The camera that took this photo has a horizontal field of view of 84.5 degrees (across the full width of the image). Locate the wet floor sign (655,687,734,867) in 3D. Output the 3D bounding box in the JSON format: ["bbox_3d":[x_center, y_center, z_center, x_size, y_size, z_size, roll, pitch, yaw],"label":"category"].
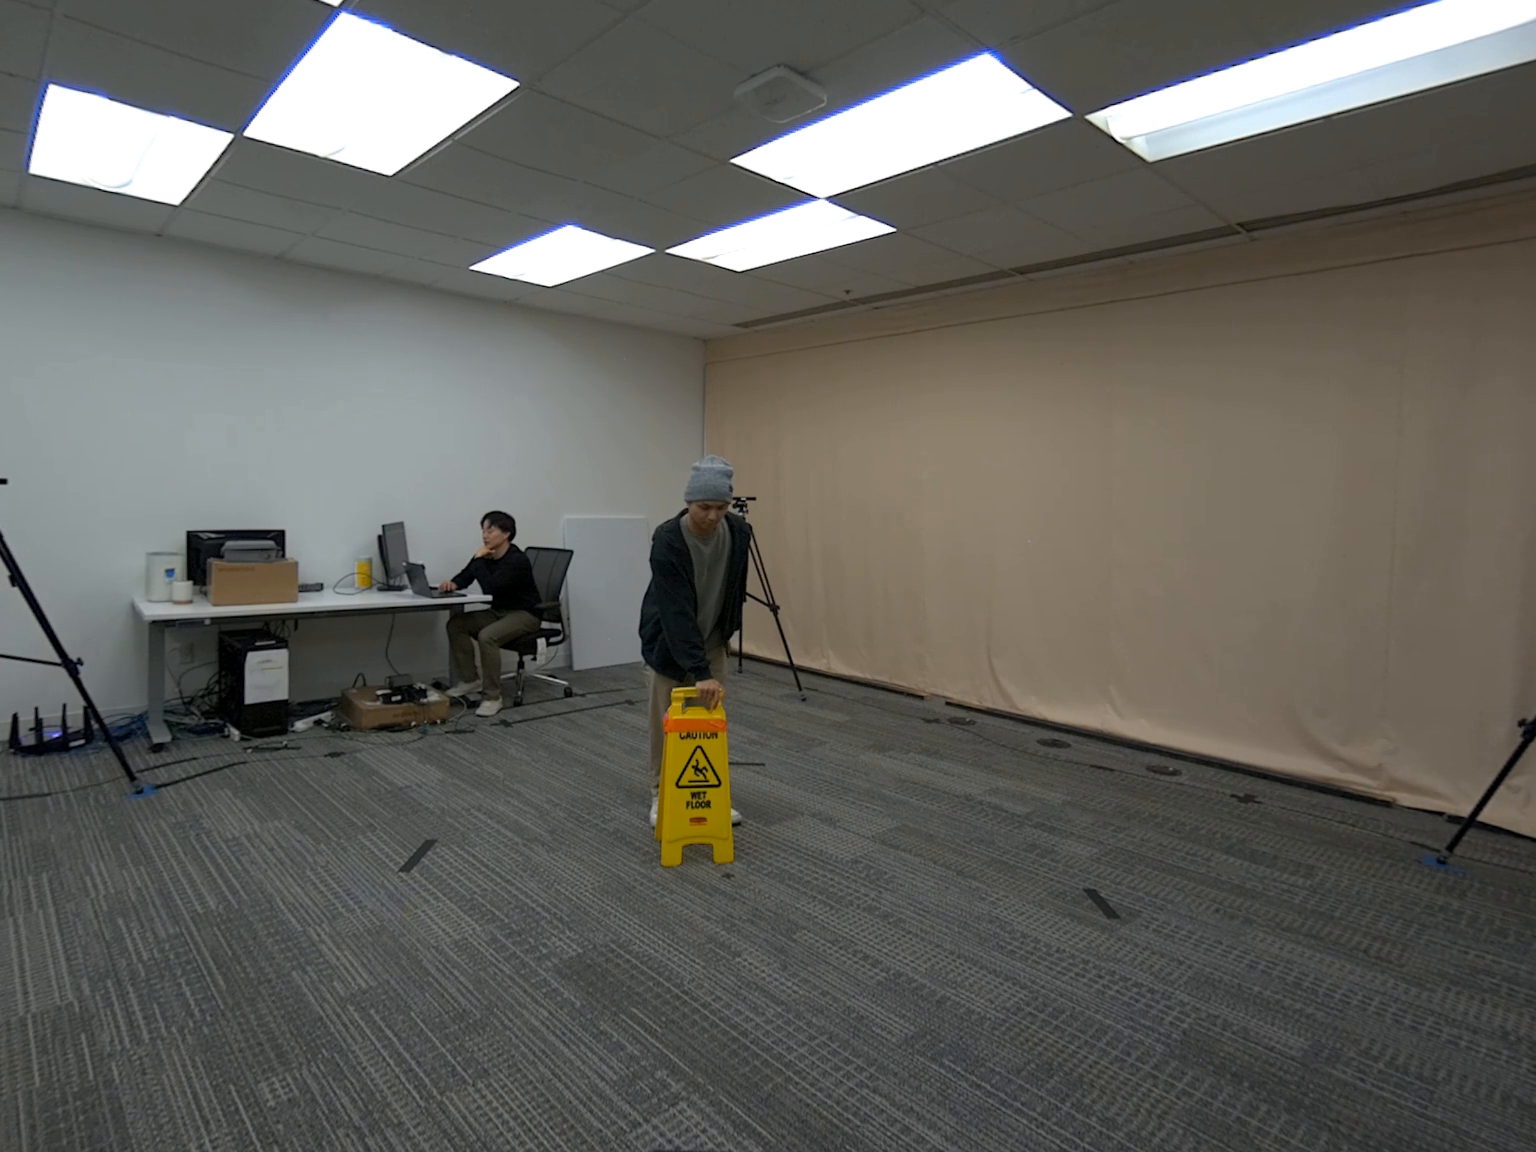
[{"bbox_3d":[-0.302,0.756,3.309,0.279,0.644,0.293,3,3,-12],"label":"wet floor sign"}]
